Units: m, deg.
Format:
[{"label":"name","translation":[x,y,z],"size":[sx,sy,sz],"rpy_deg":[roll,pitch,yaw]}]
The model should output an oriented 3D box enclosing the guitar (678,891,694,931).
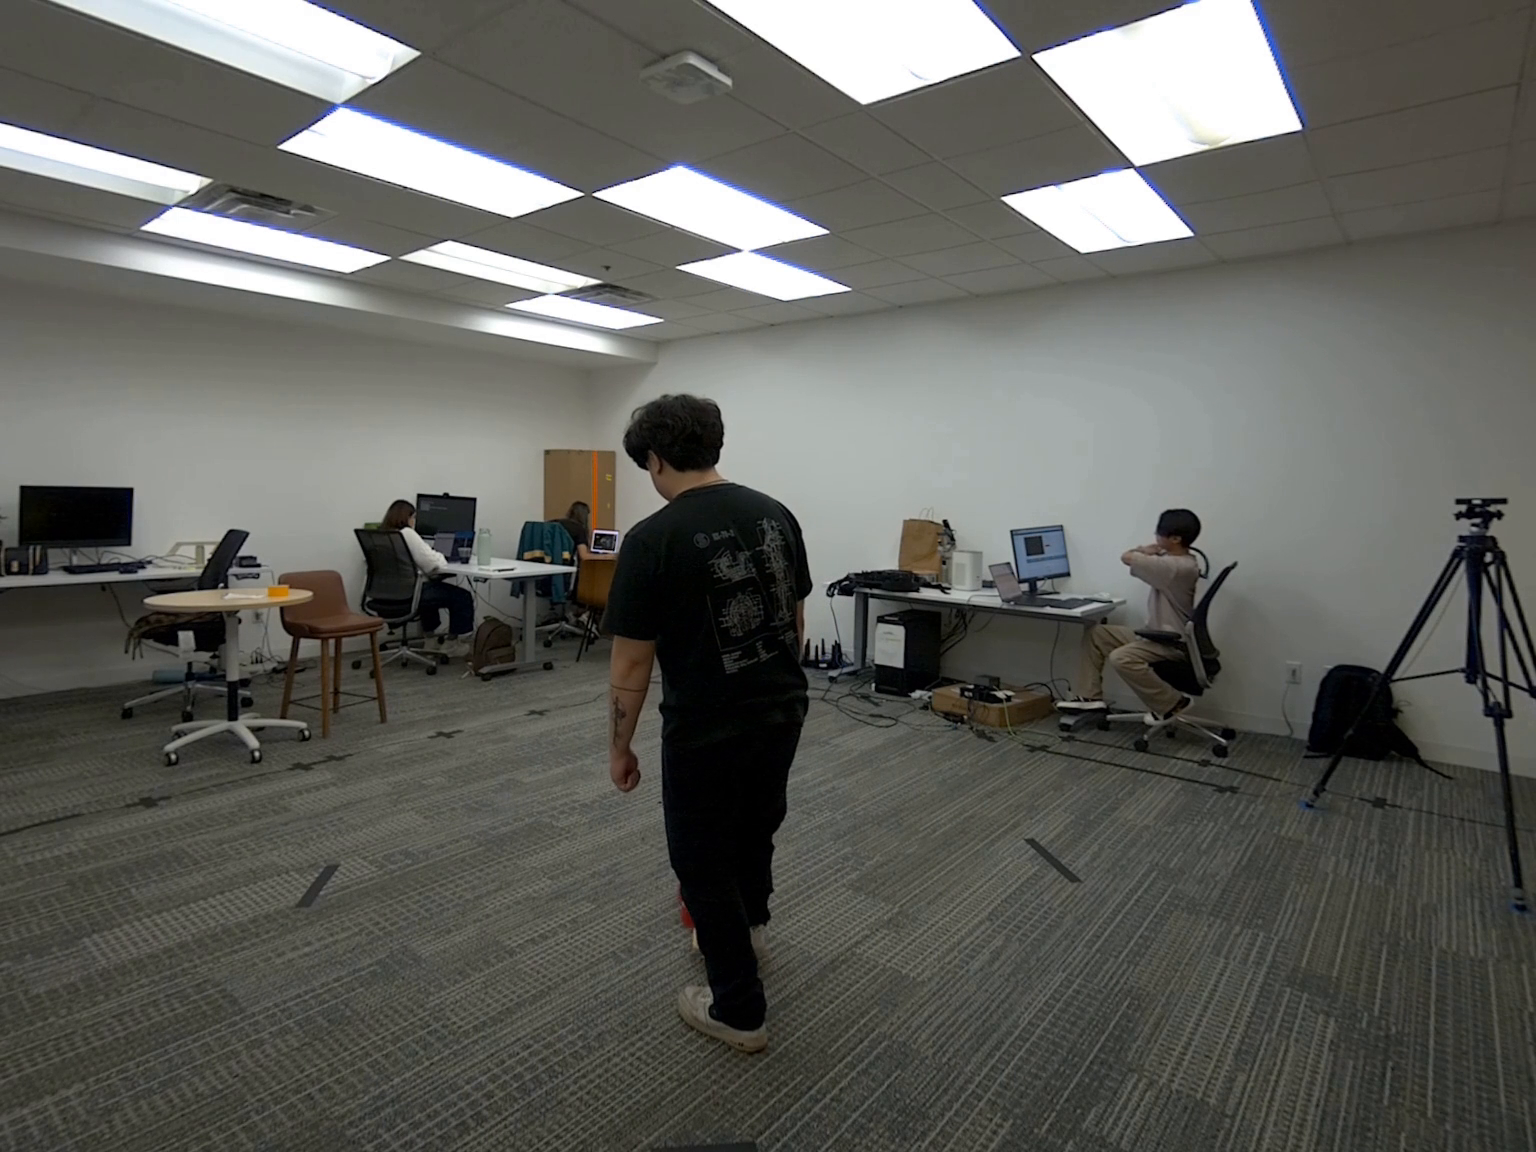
[{"label":"guitar","translation":[-0.236,1.071,2.698],"size":[0.195,0.070,0.495],"rpy_deg":[2,5,7]}]
